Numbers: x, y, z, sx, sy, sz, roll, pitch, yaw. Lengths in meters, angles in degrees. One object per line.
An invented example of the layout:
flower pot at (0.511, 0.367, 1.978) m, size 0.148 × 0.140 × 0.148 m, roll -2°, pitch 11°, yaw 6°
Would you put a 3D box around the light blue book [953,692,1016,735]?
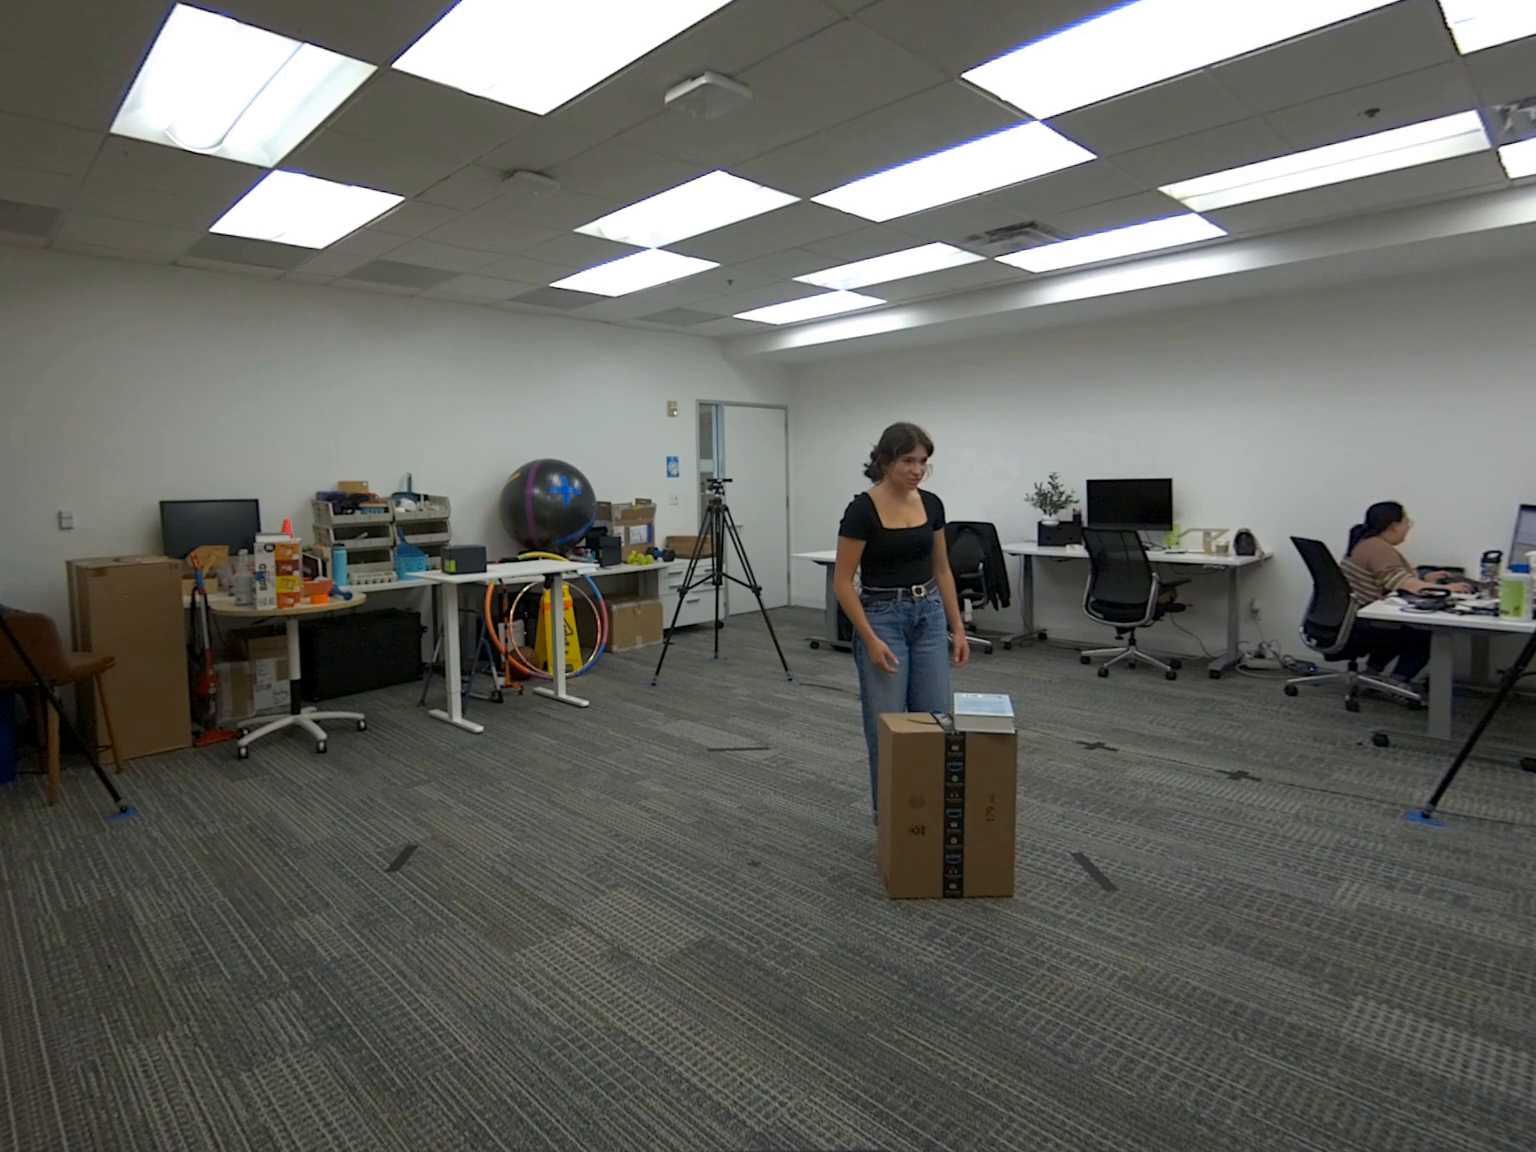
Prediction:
light blue book at (0.737, 0.465, 2.903) m, size 0.194 × 0.059 × 0.259 m, roll 0°, pitch 7°, yaw 12°
